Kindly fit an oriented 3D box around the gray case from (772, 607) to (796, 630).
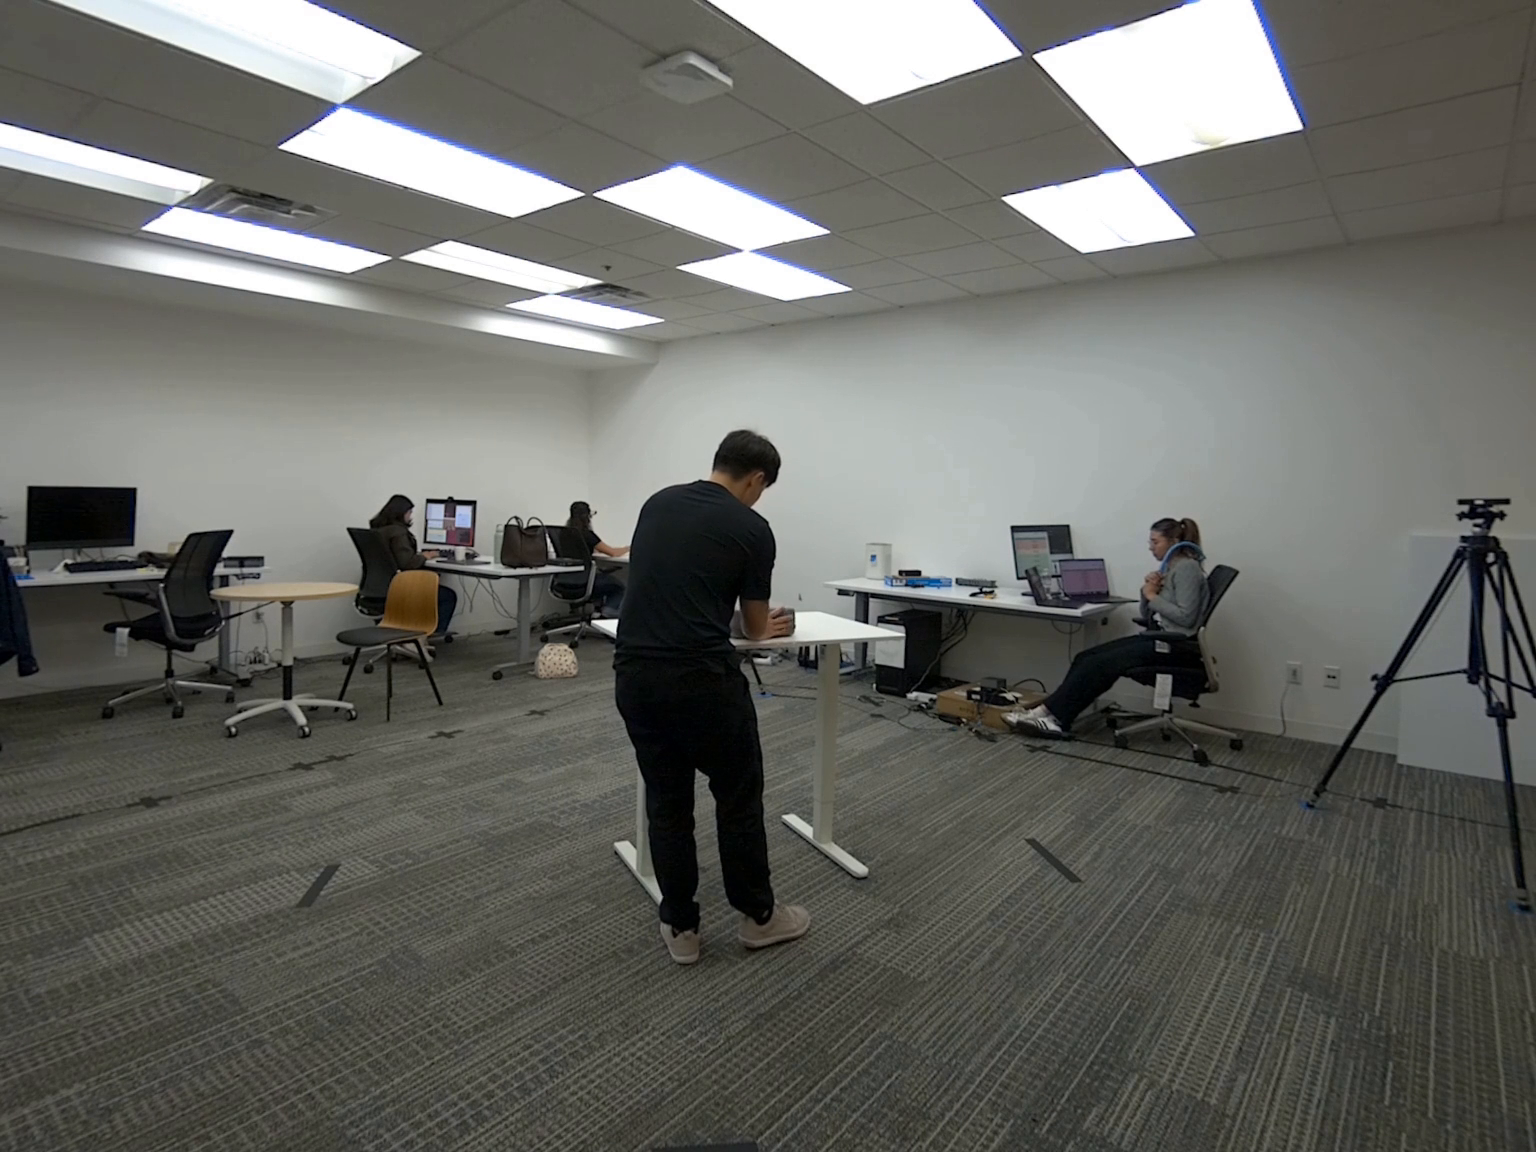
[{"bbox_3d":[-0.058,0.146,3.026,0.255,0.104,0.263,-2,4,-24],"label":"gray case"}]
